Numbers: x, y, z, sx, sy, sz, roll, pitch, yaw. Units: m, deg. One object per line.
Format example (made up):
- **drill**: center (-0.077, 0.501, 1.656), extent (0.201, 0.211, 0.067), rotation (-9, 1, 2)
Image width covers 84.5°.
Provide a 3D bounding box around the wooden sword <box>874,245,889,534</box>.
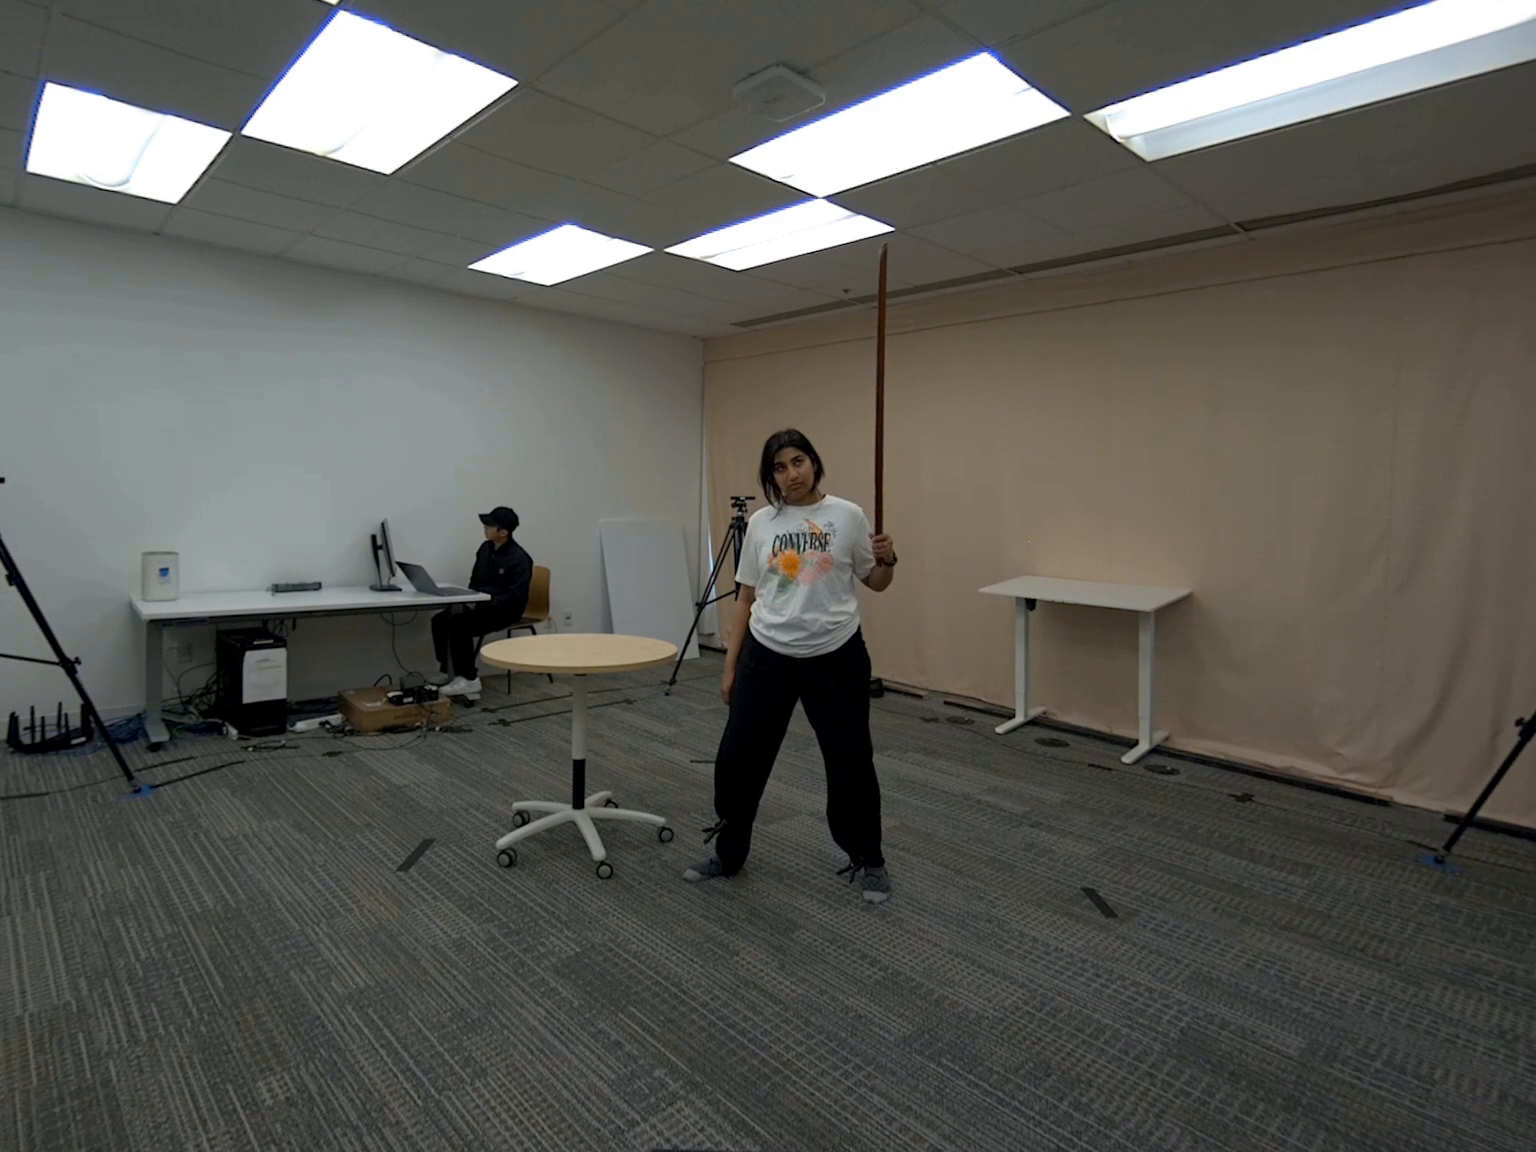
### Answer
- **wooden sword**: center (0.350, -0.485, 2.594), extent (0.050, 1.007, 0.025), rotation (-16, 29, -28)
